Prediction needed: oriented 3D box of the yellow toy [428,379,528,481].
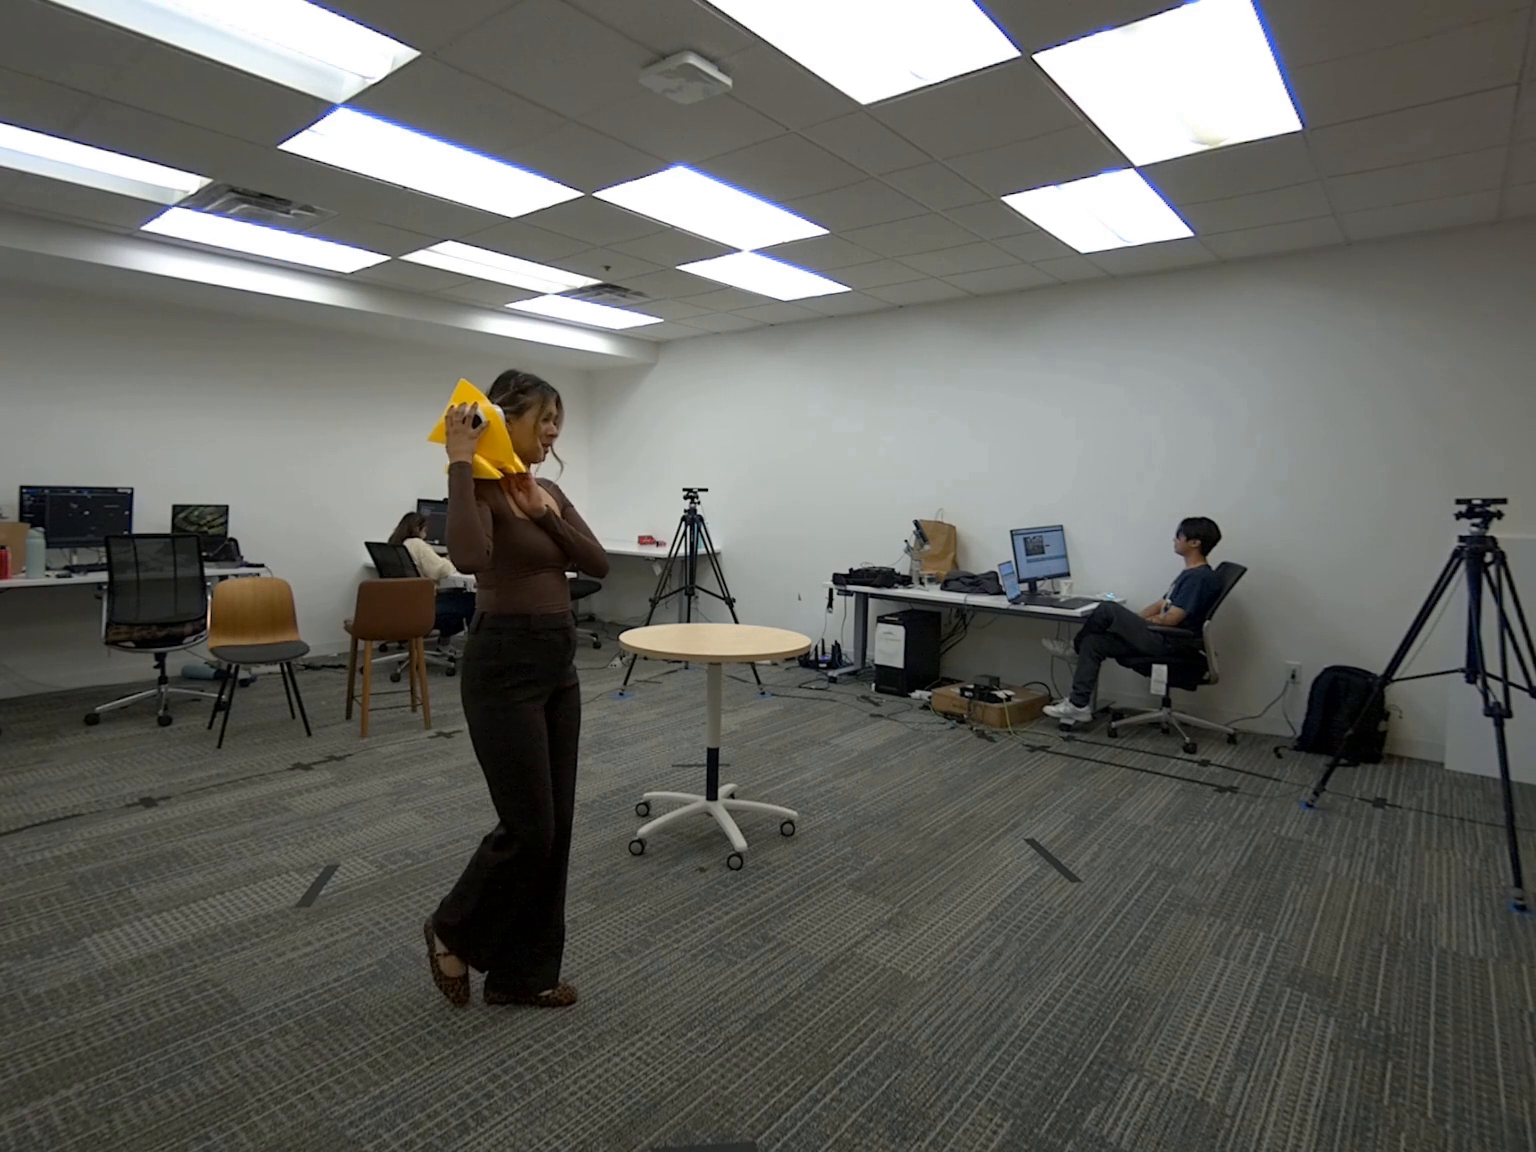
[{"bbox_3d":[-0.732,-0.380,2.140,0.196,0.228,0.203,7,14,14],"label":"yellow toy"}]
